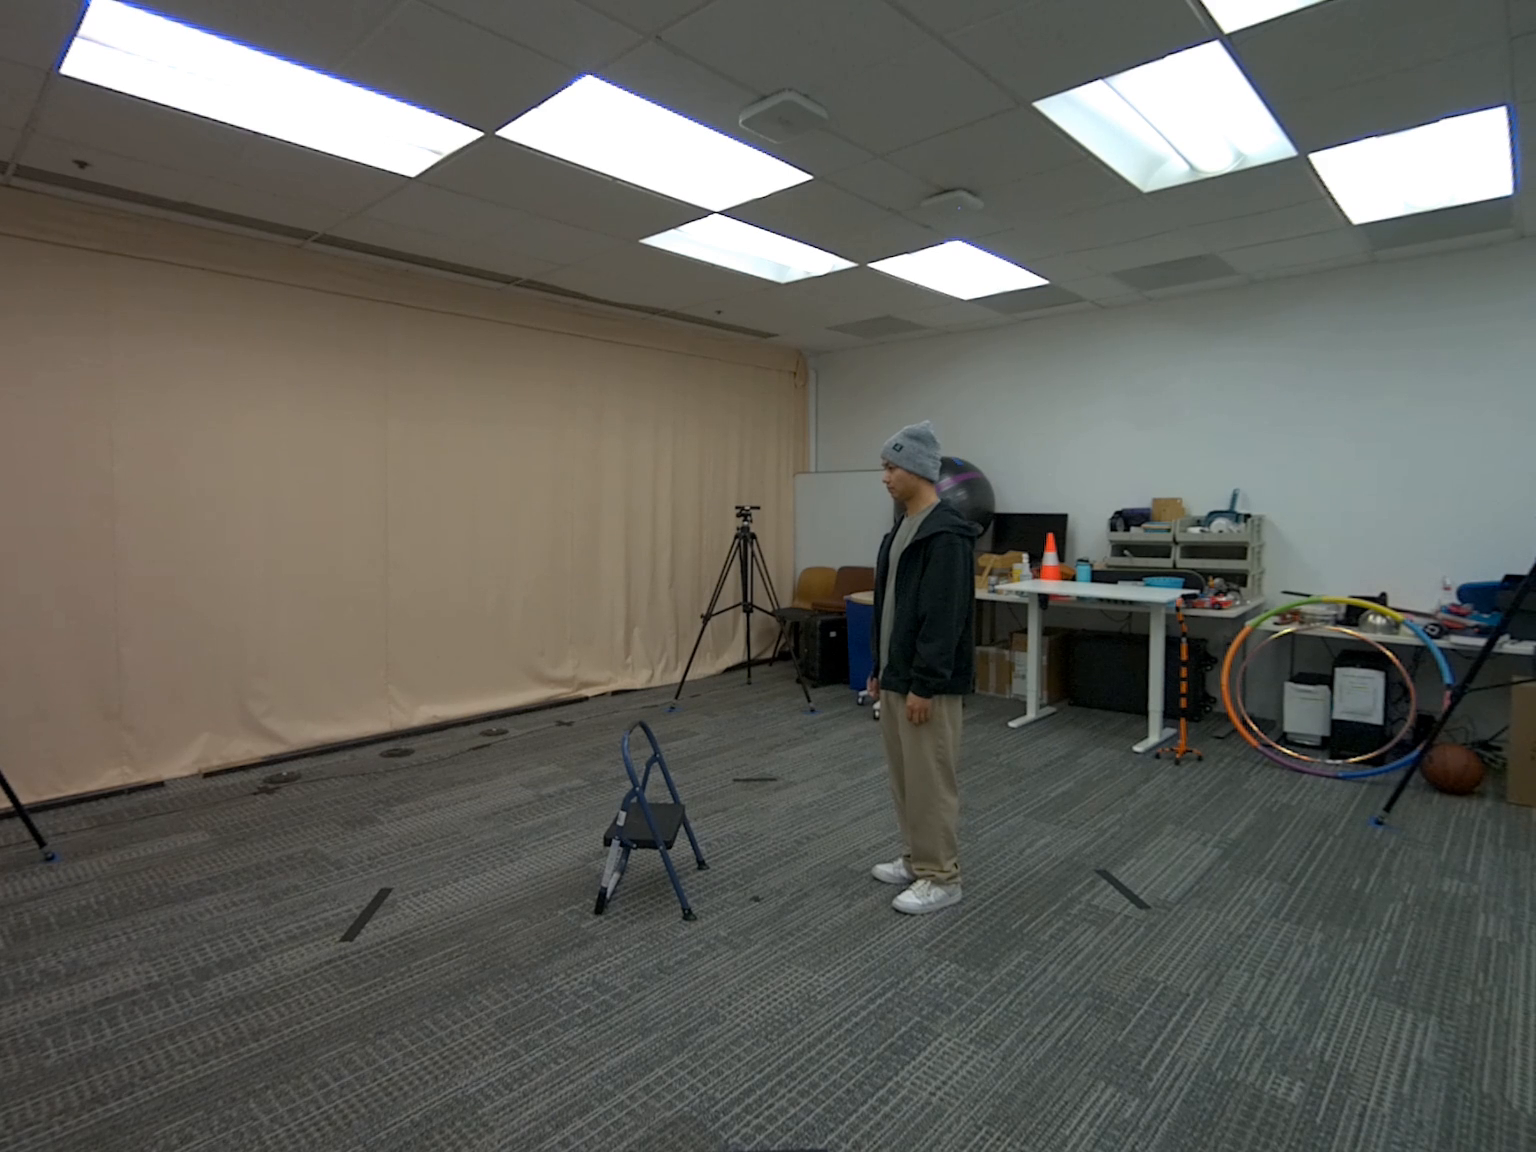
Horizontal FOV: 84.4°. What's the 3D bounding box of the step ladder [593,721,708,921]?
[{"bbox_3d":[-0.416,0.843,3.047,0.351,0.605,0.430,0,3,3],"label":"step ladder"}]
